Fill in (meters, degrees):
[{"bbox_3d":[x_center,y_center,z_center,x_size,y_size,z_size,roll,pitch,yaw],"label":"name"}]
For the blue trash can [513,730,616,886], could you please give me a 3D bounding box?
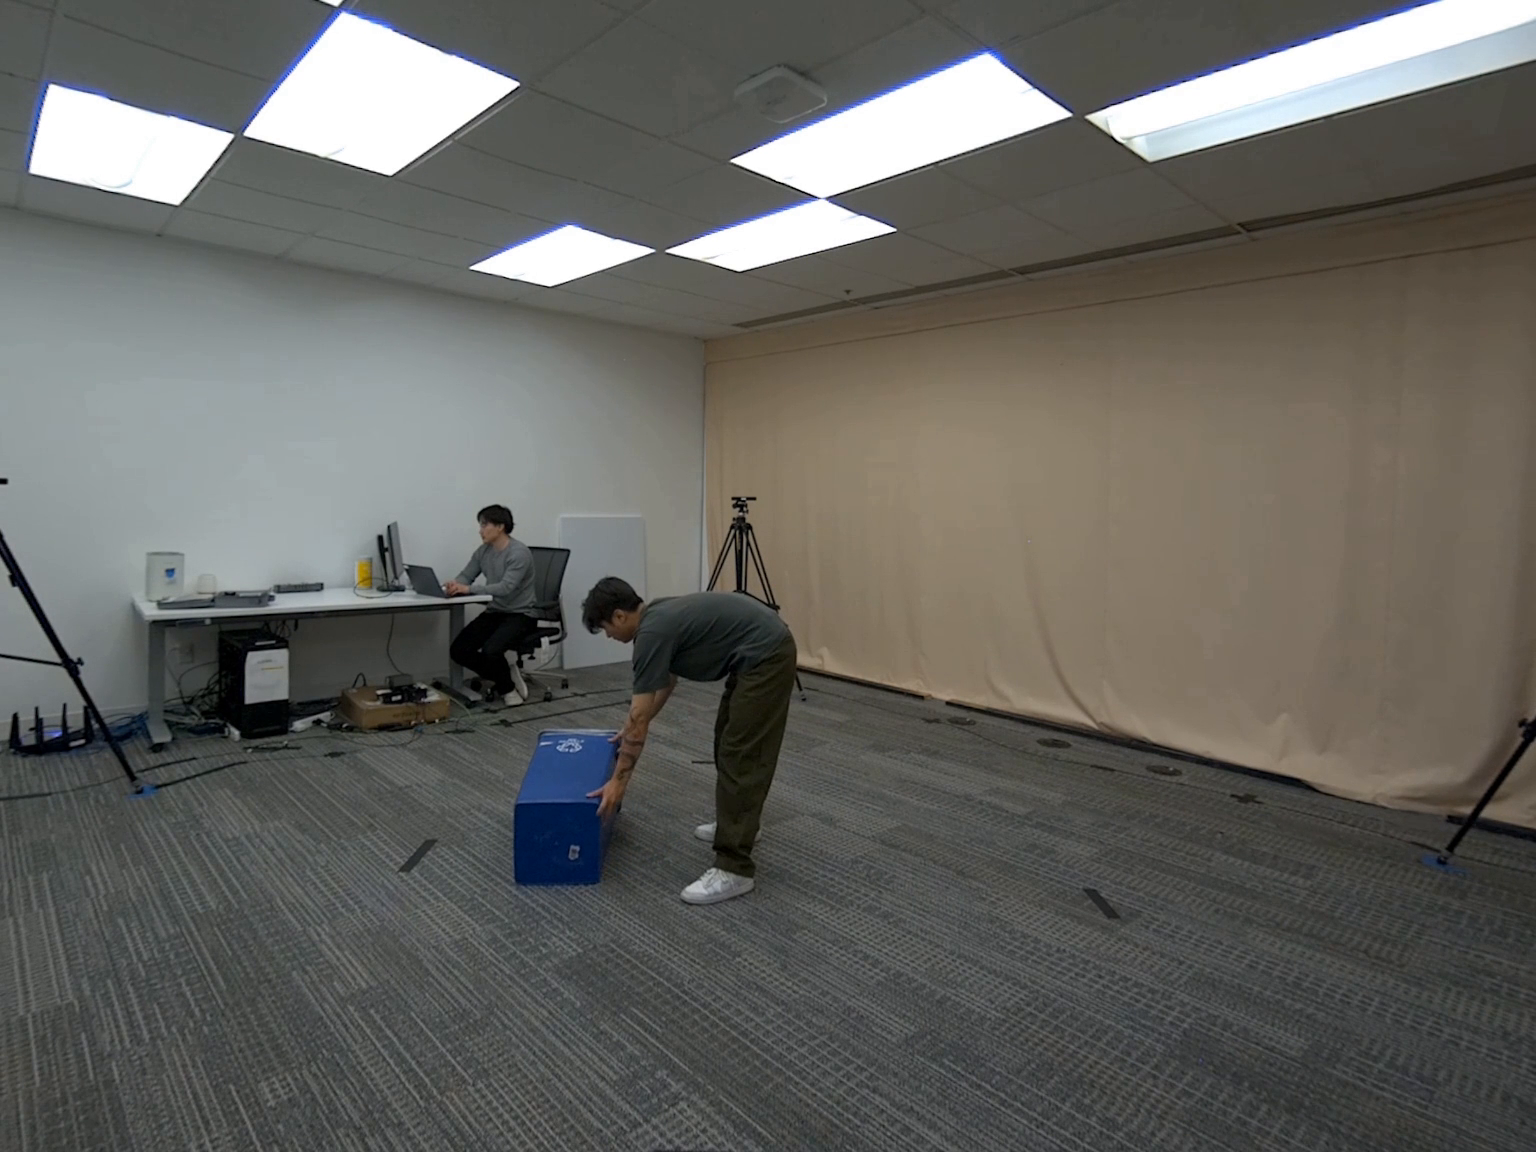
[{"bbox_3d":[-0.786,0.895,3.332,0.376,0.373,0.720,2,6,-7],"label":"blue trash can"}]
